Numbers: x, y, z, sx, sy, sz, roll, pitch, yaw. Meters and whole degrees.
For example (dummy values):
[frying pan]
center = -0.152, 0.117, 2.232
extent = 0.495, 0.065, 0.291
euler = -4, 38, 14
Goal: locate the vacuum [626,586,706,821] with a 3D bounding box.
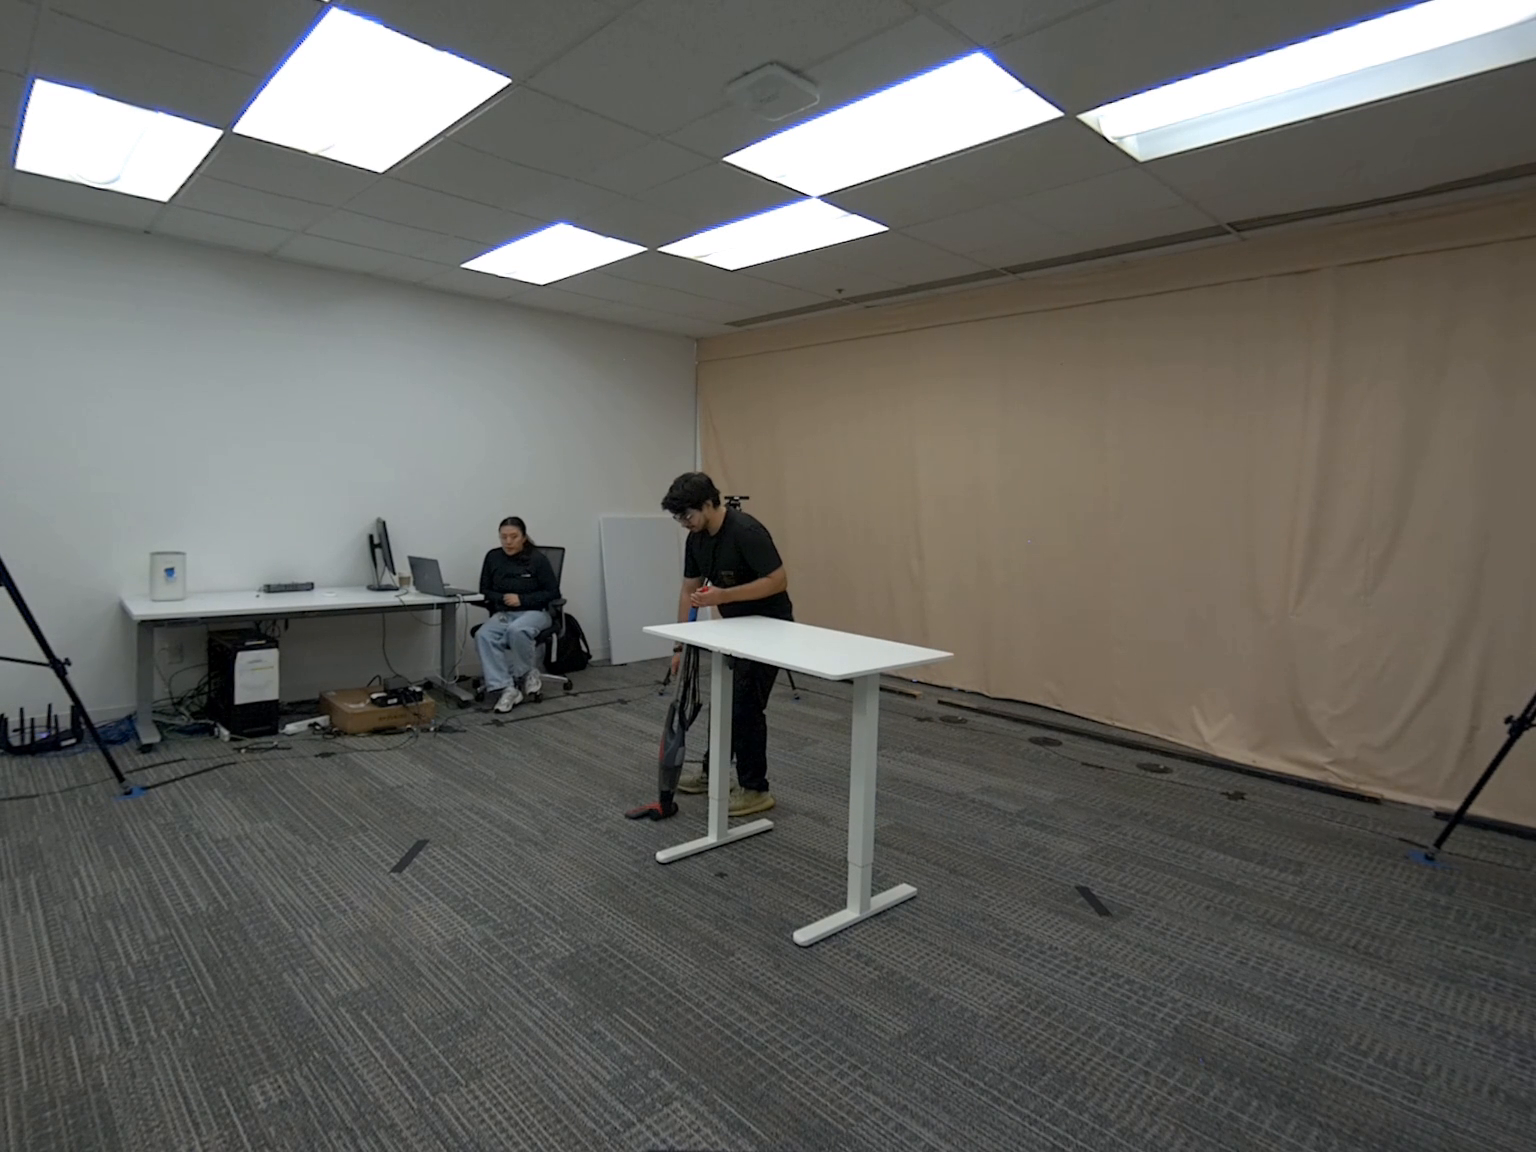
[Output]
[vacuum]
center = -0.378, 0.553, 3.572
extent = 0.148, 1.042, 0.247
euler = 23, 16, 35
